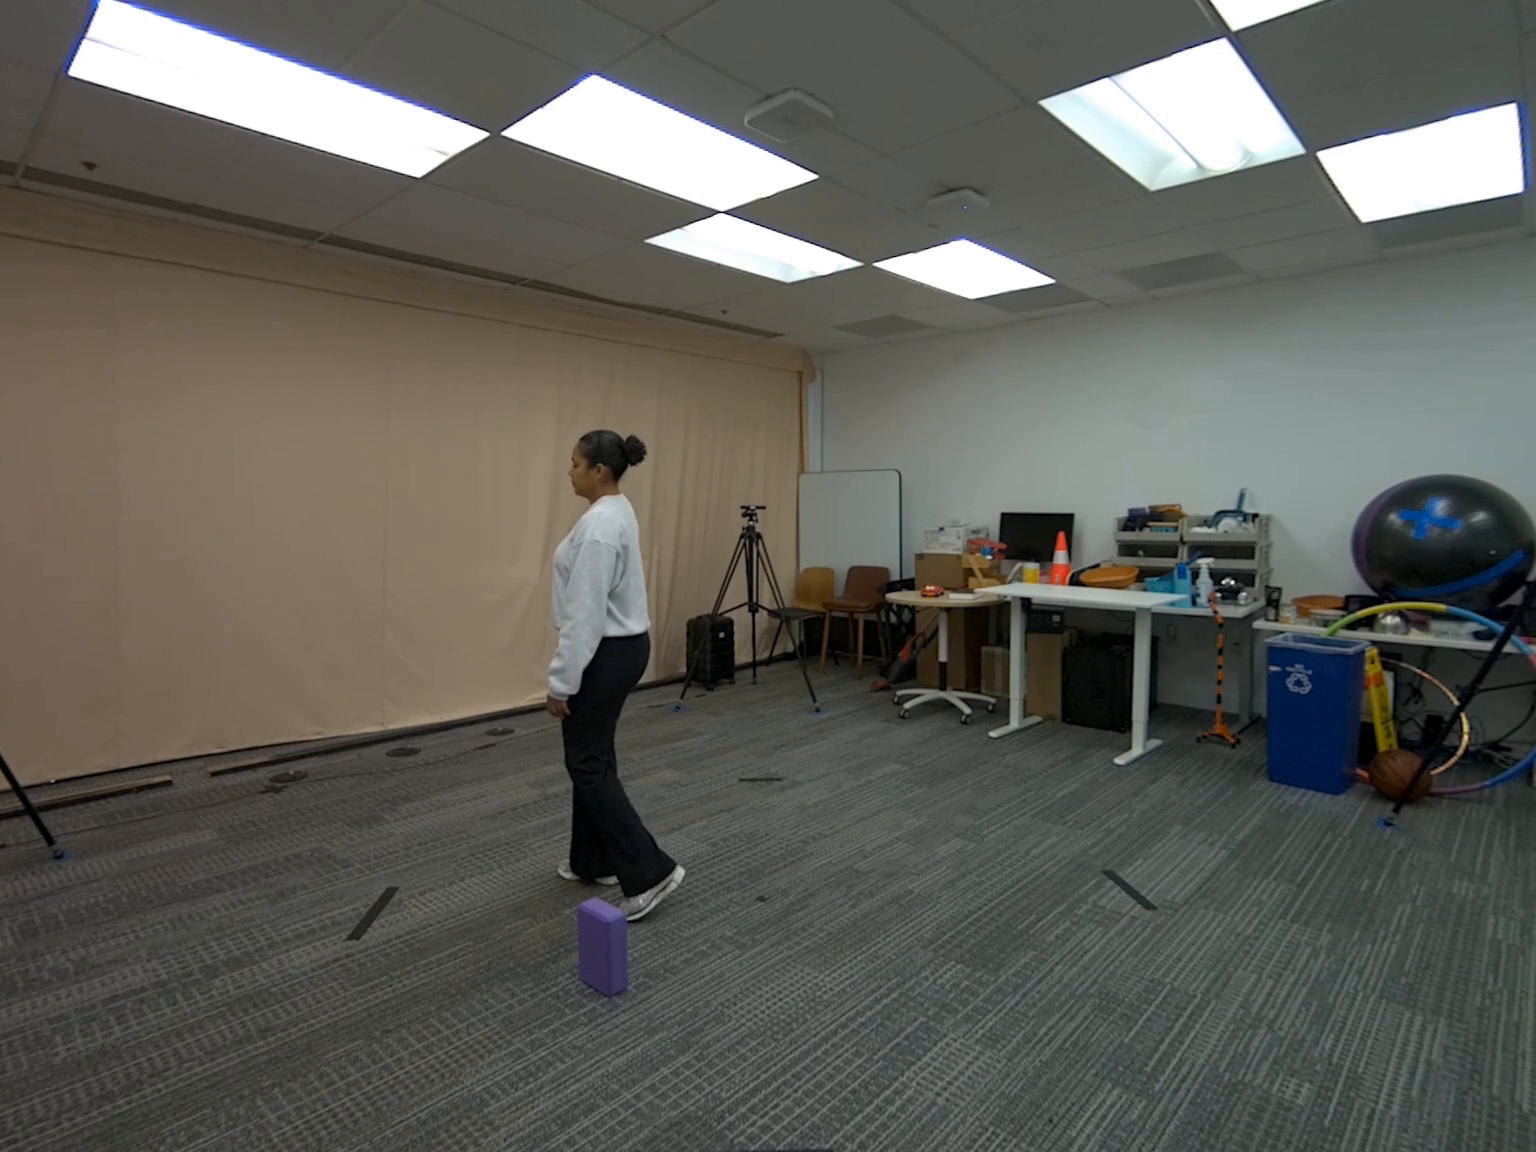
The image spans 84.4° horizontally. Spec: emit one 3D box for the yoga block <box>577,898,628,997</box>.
[{"bbox_3d":[-0.478,1.070,2.447,0.154,0.229,0.074,5,4,42],"label":"yoga block"}]
